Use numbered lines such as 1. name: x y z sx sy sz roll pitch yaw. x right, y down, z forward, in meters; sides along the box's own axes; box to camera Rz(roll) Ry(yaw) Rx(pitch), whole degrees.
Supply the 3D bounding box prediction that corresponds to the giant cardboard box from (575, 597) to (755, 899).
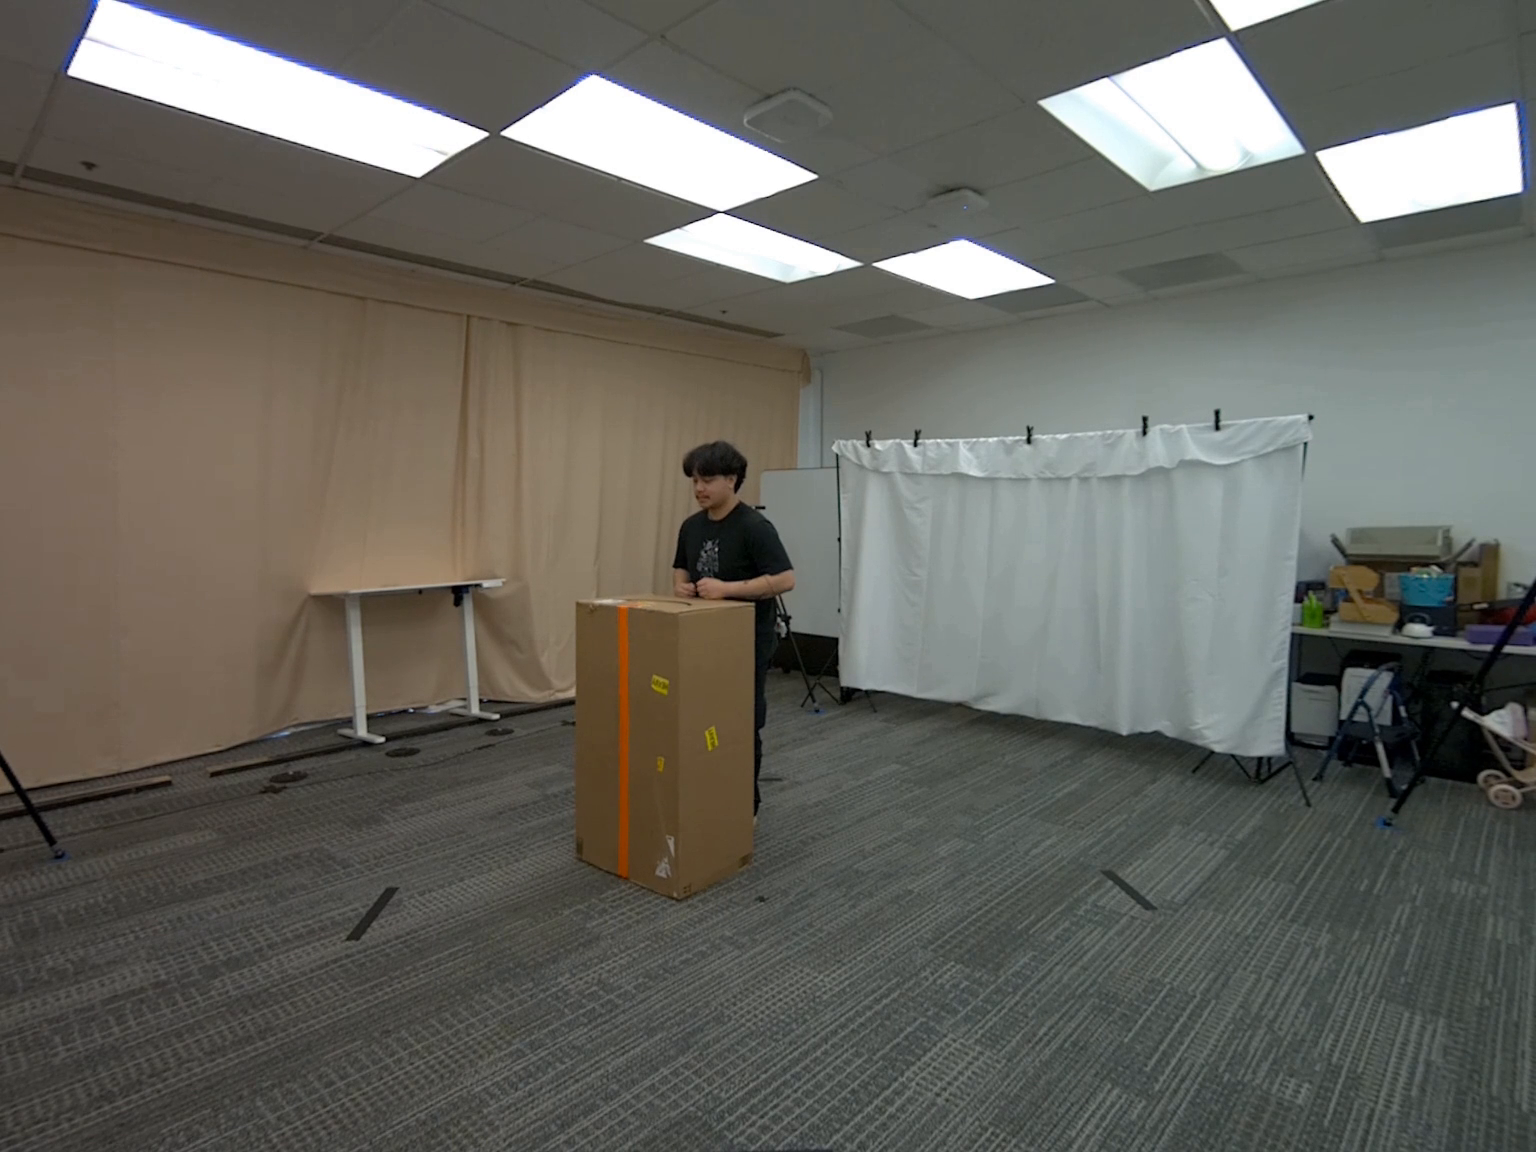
1. giant cardboard box: -0.413 0.611 3.285 0.603 1.025 0.433 3 4 42
